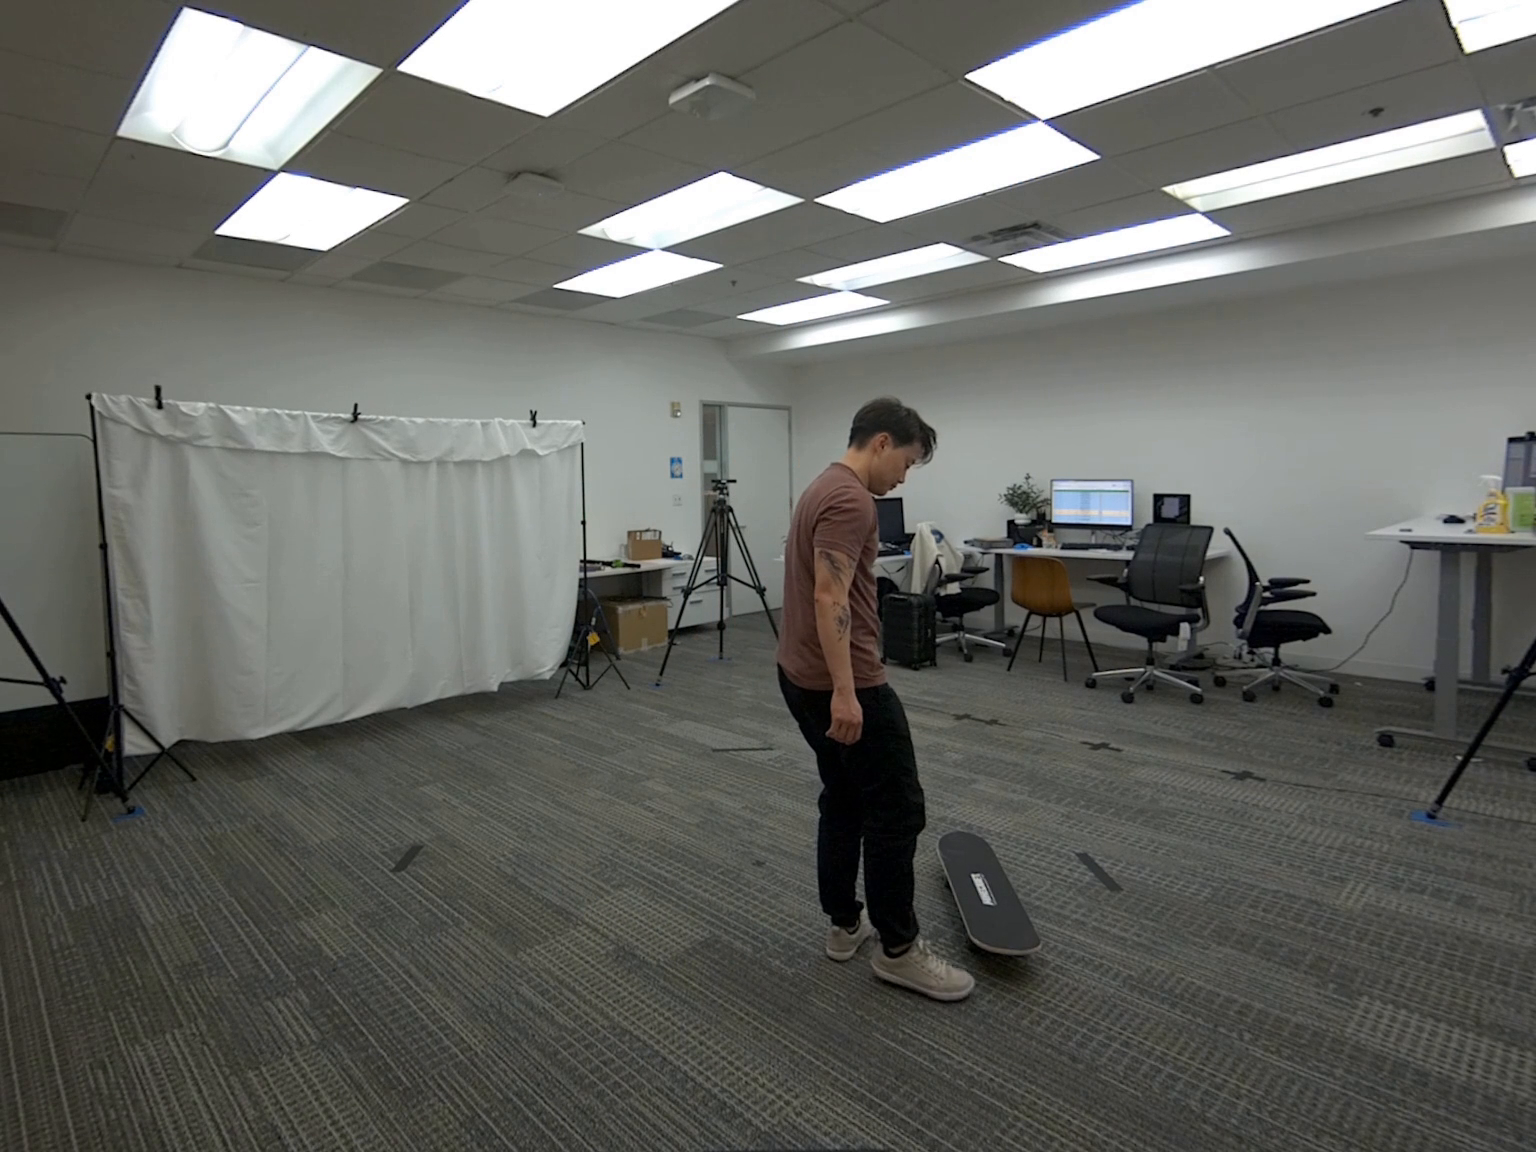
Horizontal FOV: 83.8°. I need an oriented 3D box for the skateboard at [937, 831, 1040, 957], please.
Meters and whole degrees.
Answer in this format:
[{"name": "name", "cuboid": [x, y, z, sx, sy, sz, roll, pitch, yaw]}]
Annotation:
[{"name": "skateboard", "cuboid": [0.690, 1.024, 2.708, 0.194, 0.110, 0.787, -2, 7, 2]}]
